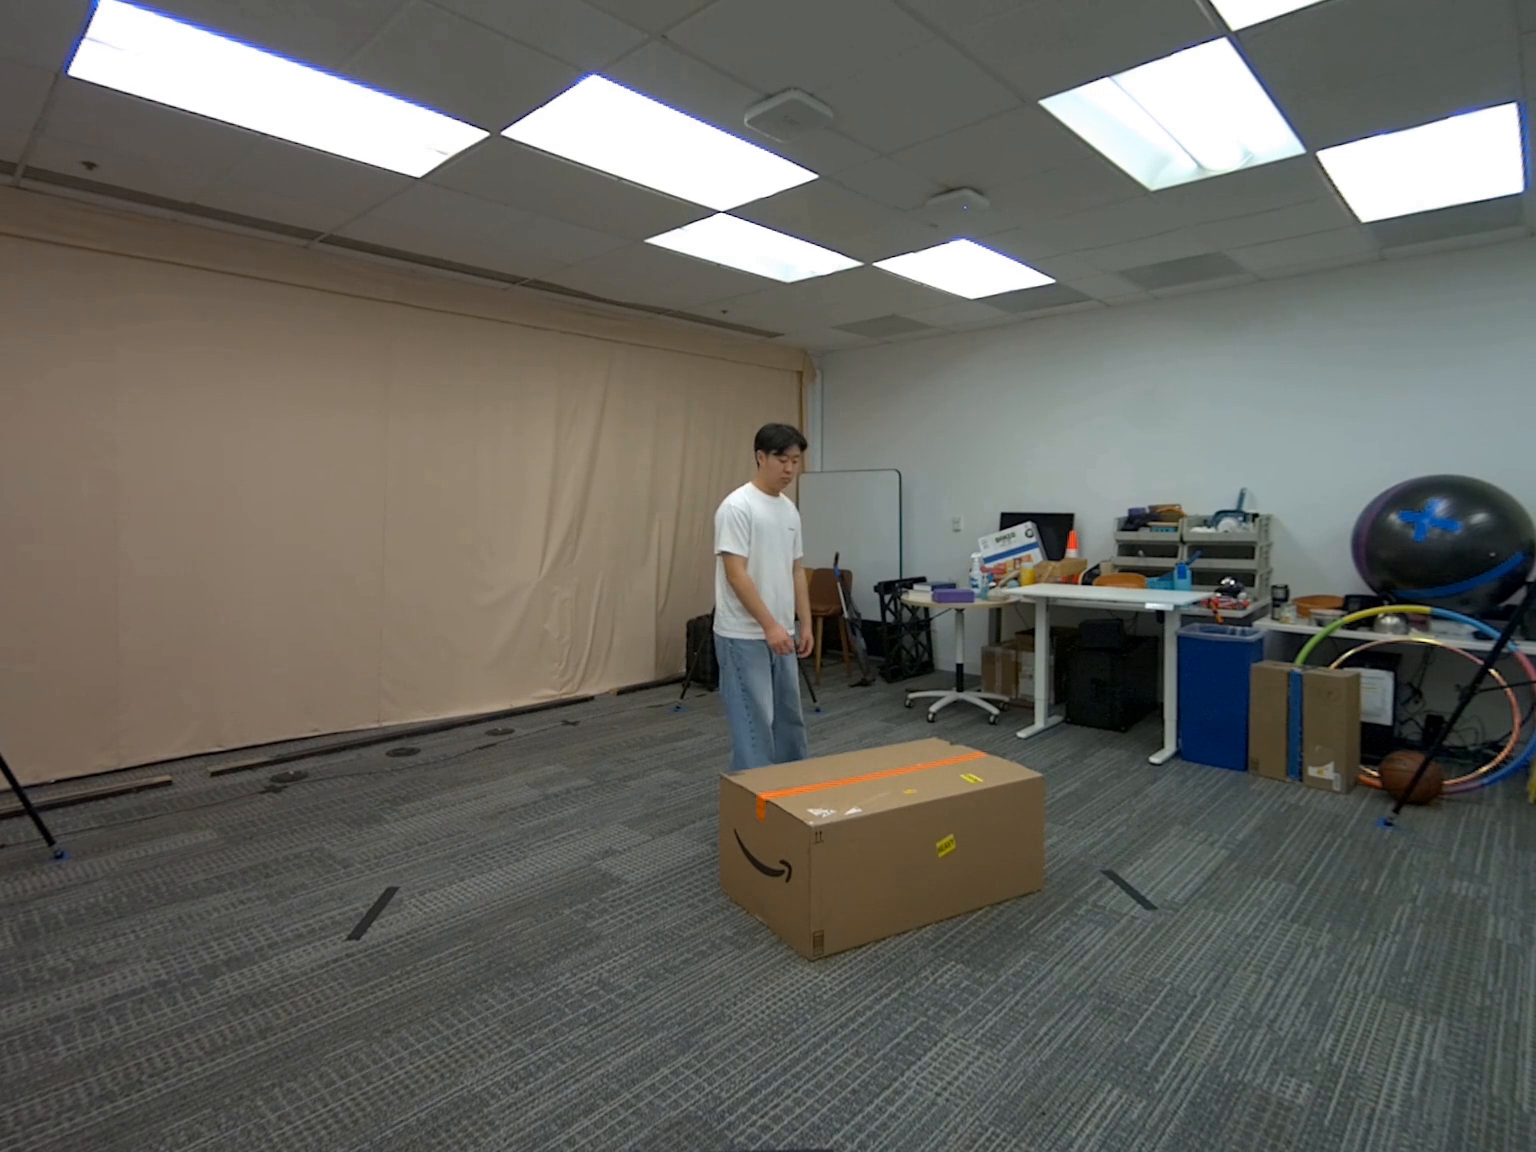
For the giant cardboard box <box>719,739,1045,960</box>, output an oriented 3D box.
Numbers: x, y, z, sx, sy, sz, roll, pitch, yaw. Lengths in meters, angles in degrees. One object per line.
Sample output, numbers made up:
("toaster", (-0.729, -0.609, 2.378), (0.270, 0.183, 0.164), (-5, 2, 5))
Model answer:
("giant cardboard box", (0.417, 0.923, 3.041), (0.998, 0.425, 0.595), (-3, 5, -30))
